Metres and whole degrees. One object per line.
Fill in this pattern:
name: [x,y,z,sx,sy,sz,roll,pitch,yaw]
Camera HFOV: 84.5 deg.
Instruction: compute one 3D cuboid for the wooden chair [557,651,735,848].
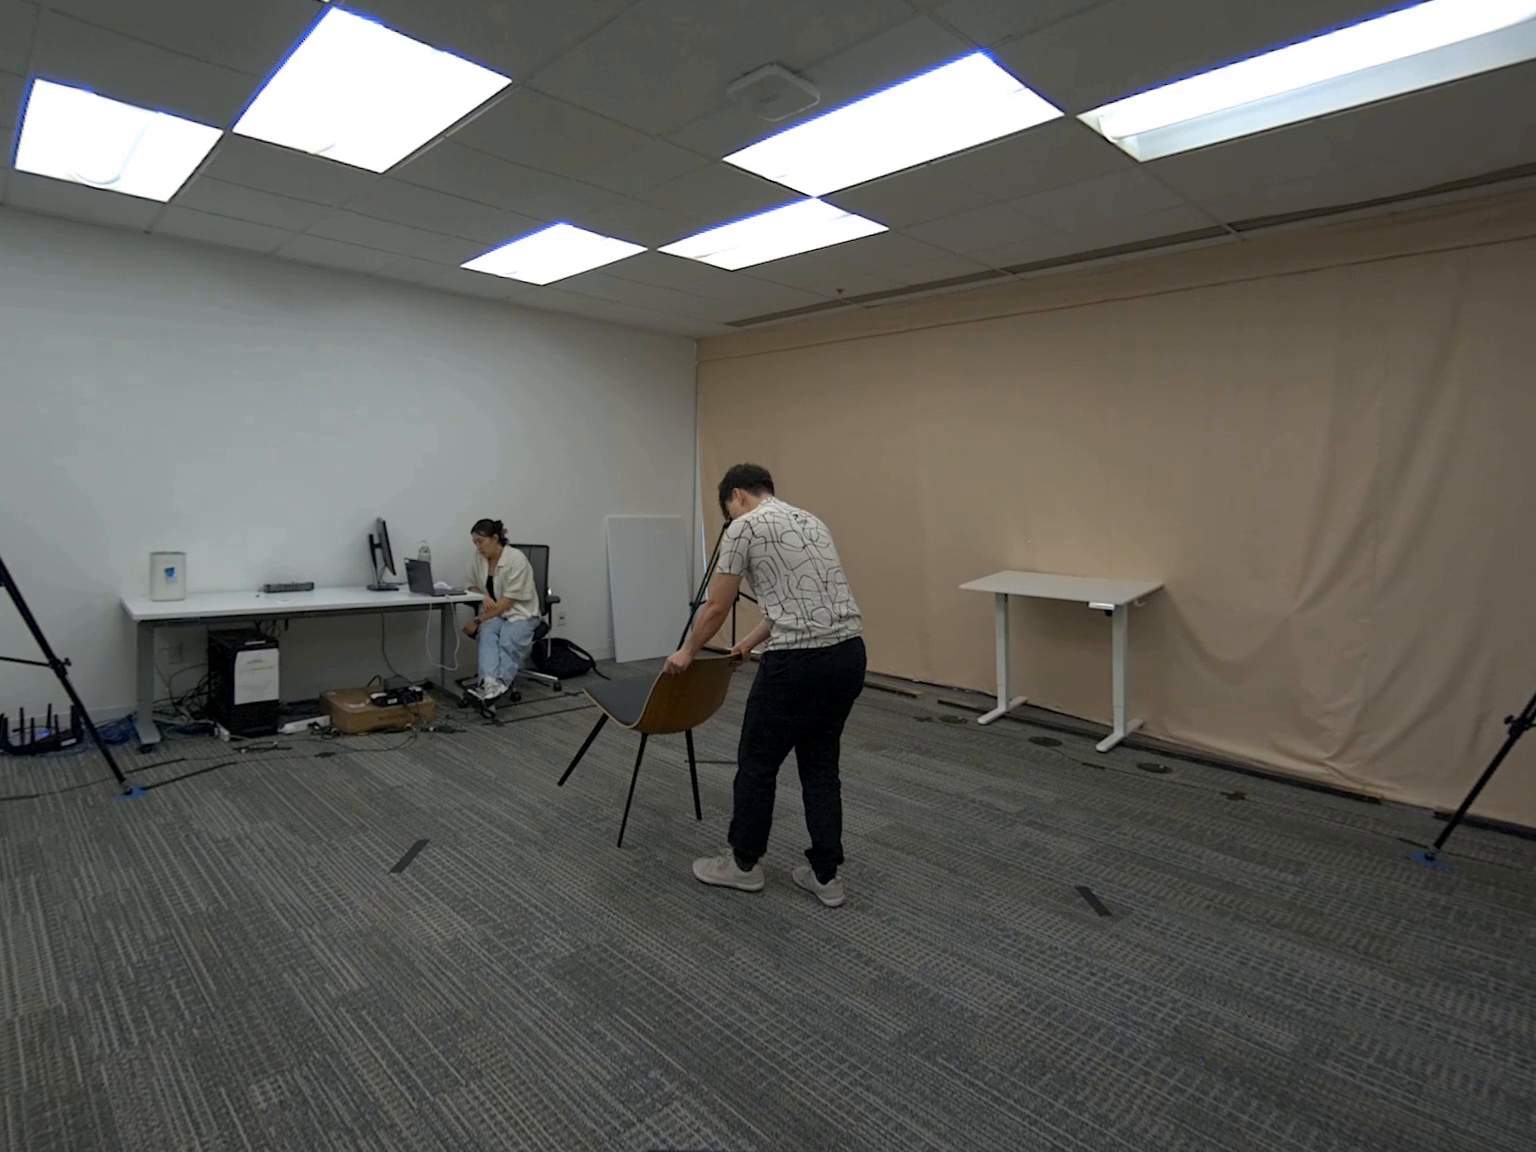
wooden chair: [-0.498,0.582,3.515,0.467,0.870,0.540,-2,28,-46]
